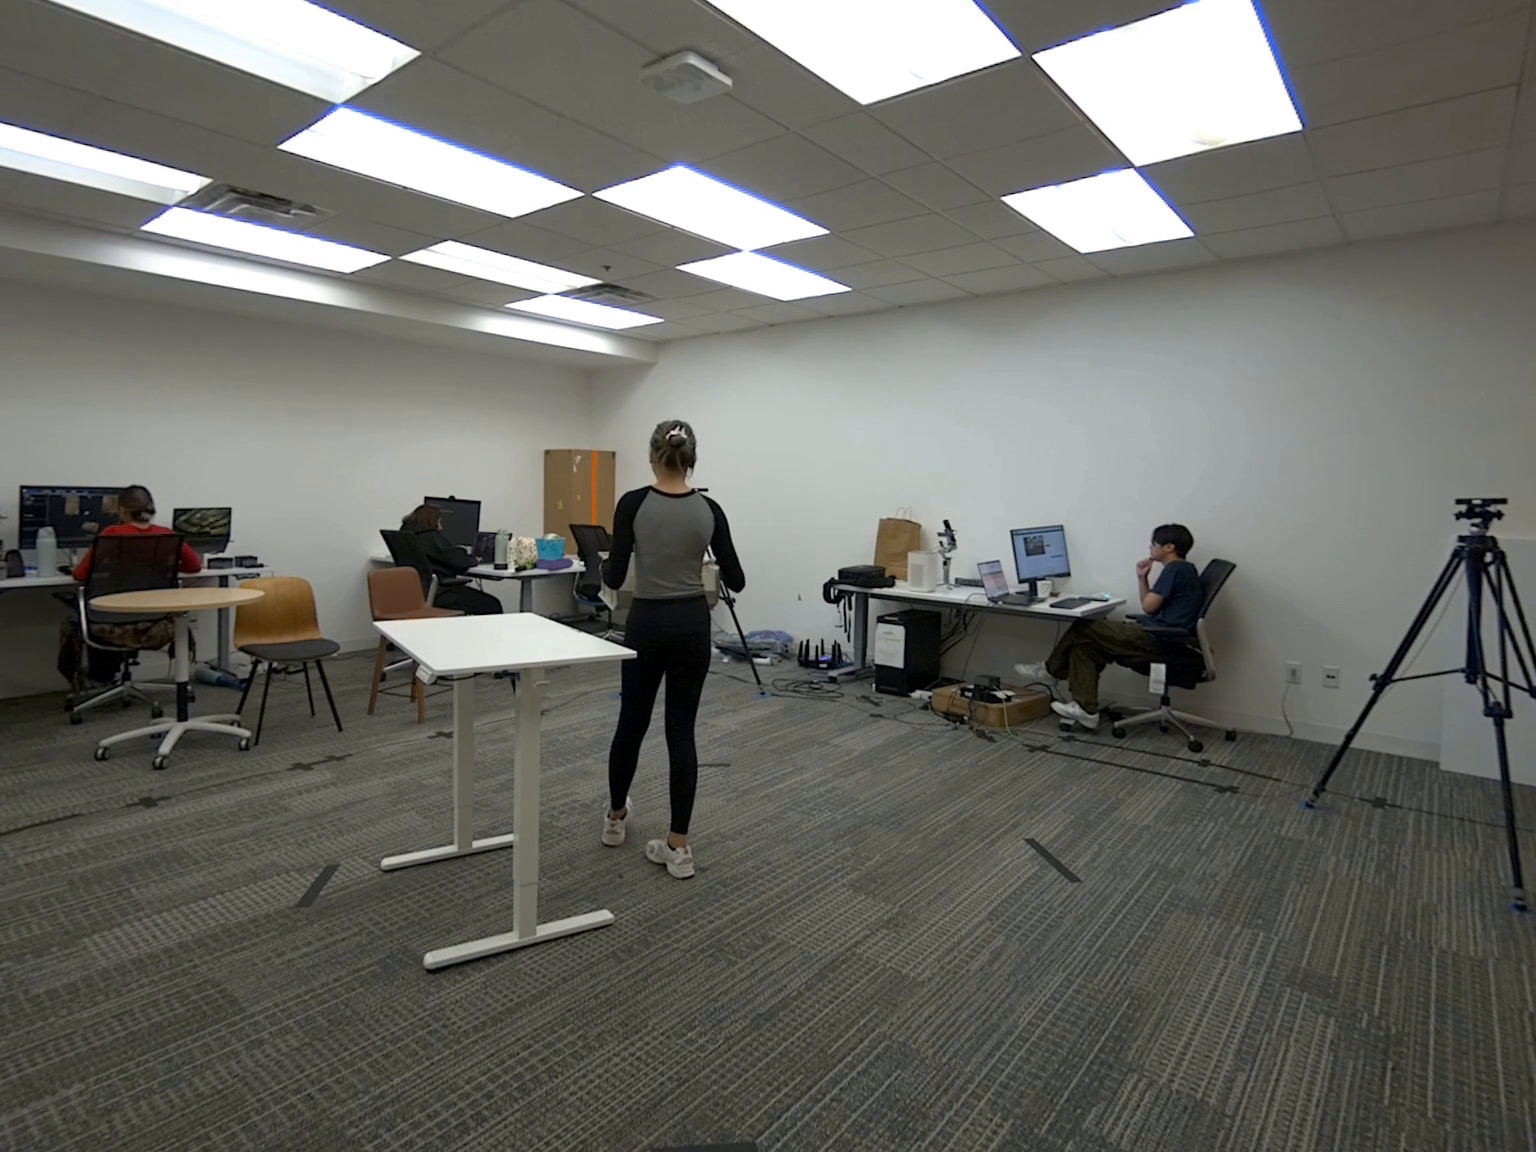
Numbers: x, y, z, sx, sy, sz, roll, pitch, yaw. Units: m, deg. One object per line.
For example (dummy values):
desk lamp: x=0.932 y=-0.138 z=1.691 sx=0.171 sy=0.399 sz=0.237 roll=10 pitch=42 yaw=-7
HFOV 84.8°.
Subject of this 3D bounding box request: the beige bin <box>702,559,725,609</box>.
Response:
beige bin: x=-0.454 y=0.028 z=3.430 sx=0.414 sy=0.188 sz=0.387 roll=0 pitch=8 yaw=-20
